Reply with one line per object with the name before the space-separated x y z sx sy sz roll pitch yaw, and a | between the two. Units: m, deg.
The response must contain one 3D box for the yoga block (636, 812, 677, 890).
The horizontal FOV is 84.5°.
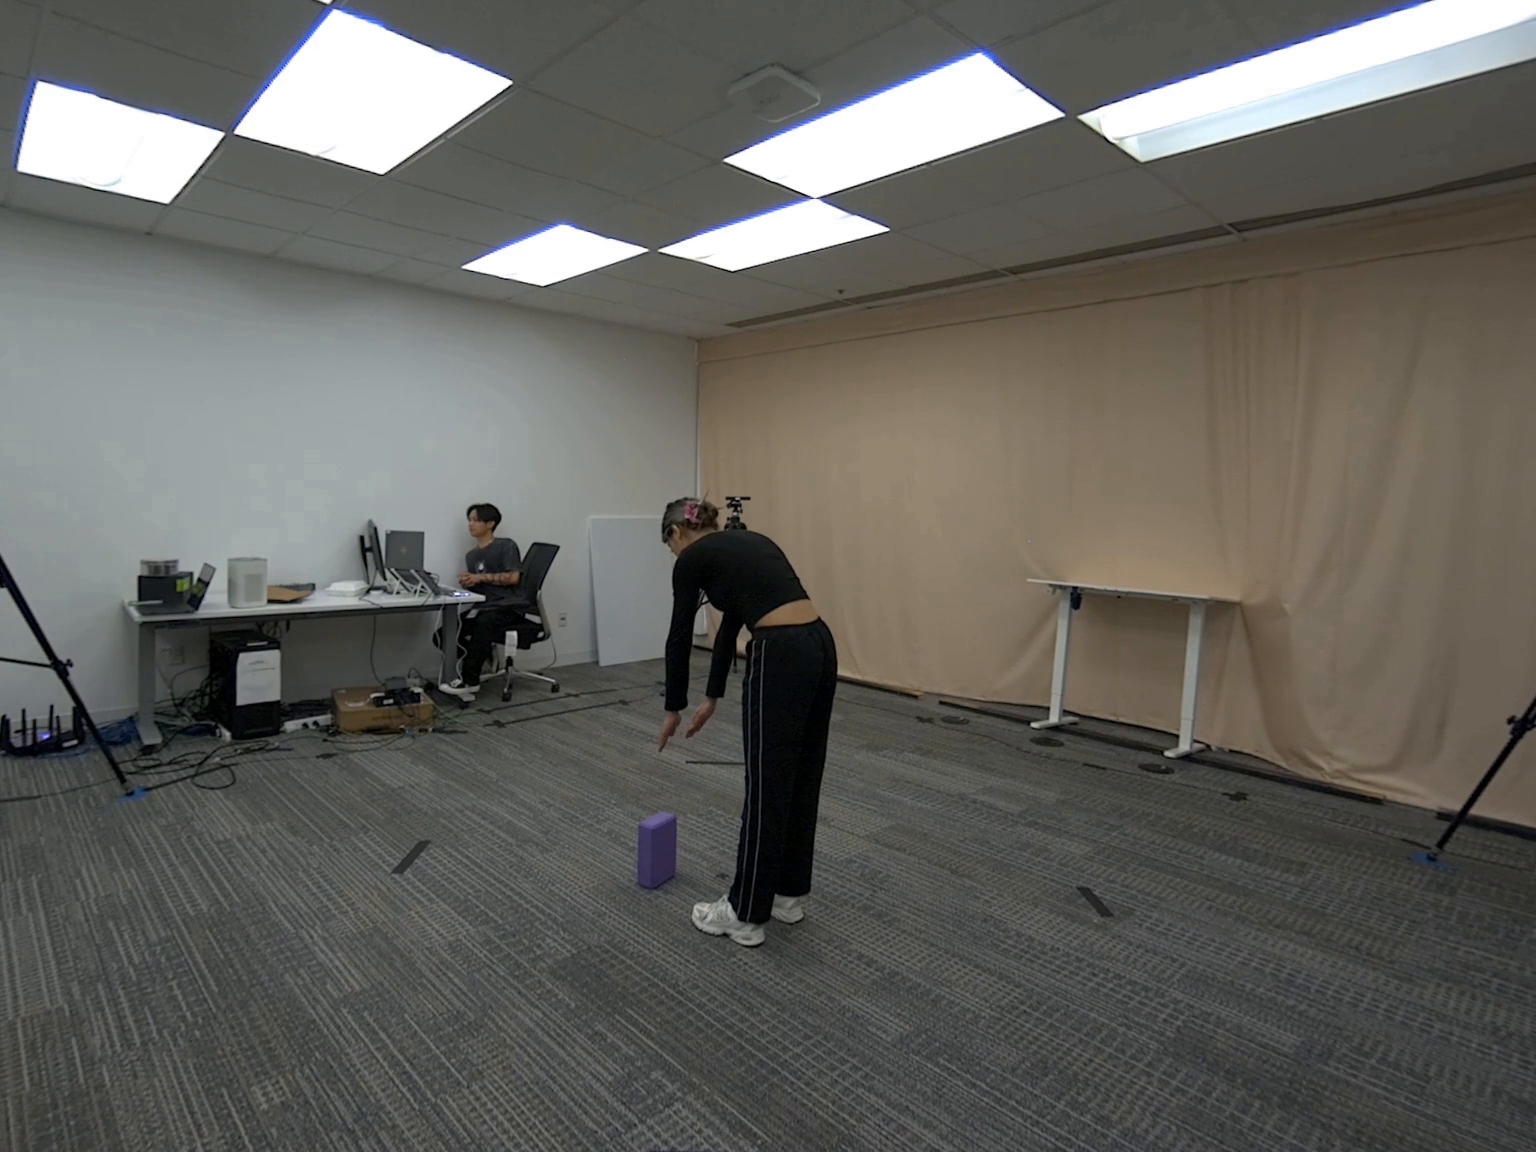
yoga block | -0.408 0.991 3.043 0.078 0.229 0.146 3 5 30
